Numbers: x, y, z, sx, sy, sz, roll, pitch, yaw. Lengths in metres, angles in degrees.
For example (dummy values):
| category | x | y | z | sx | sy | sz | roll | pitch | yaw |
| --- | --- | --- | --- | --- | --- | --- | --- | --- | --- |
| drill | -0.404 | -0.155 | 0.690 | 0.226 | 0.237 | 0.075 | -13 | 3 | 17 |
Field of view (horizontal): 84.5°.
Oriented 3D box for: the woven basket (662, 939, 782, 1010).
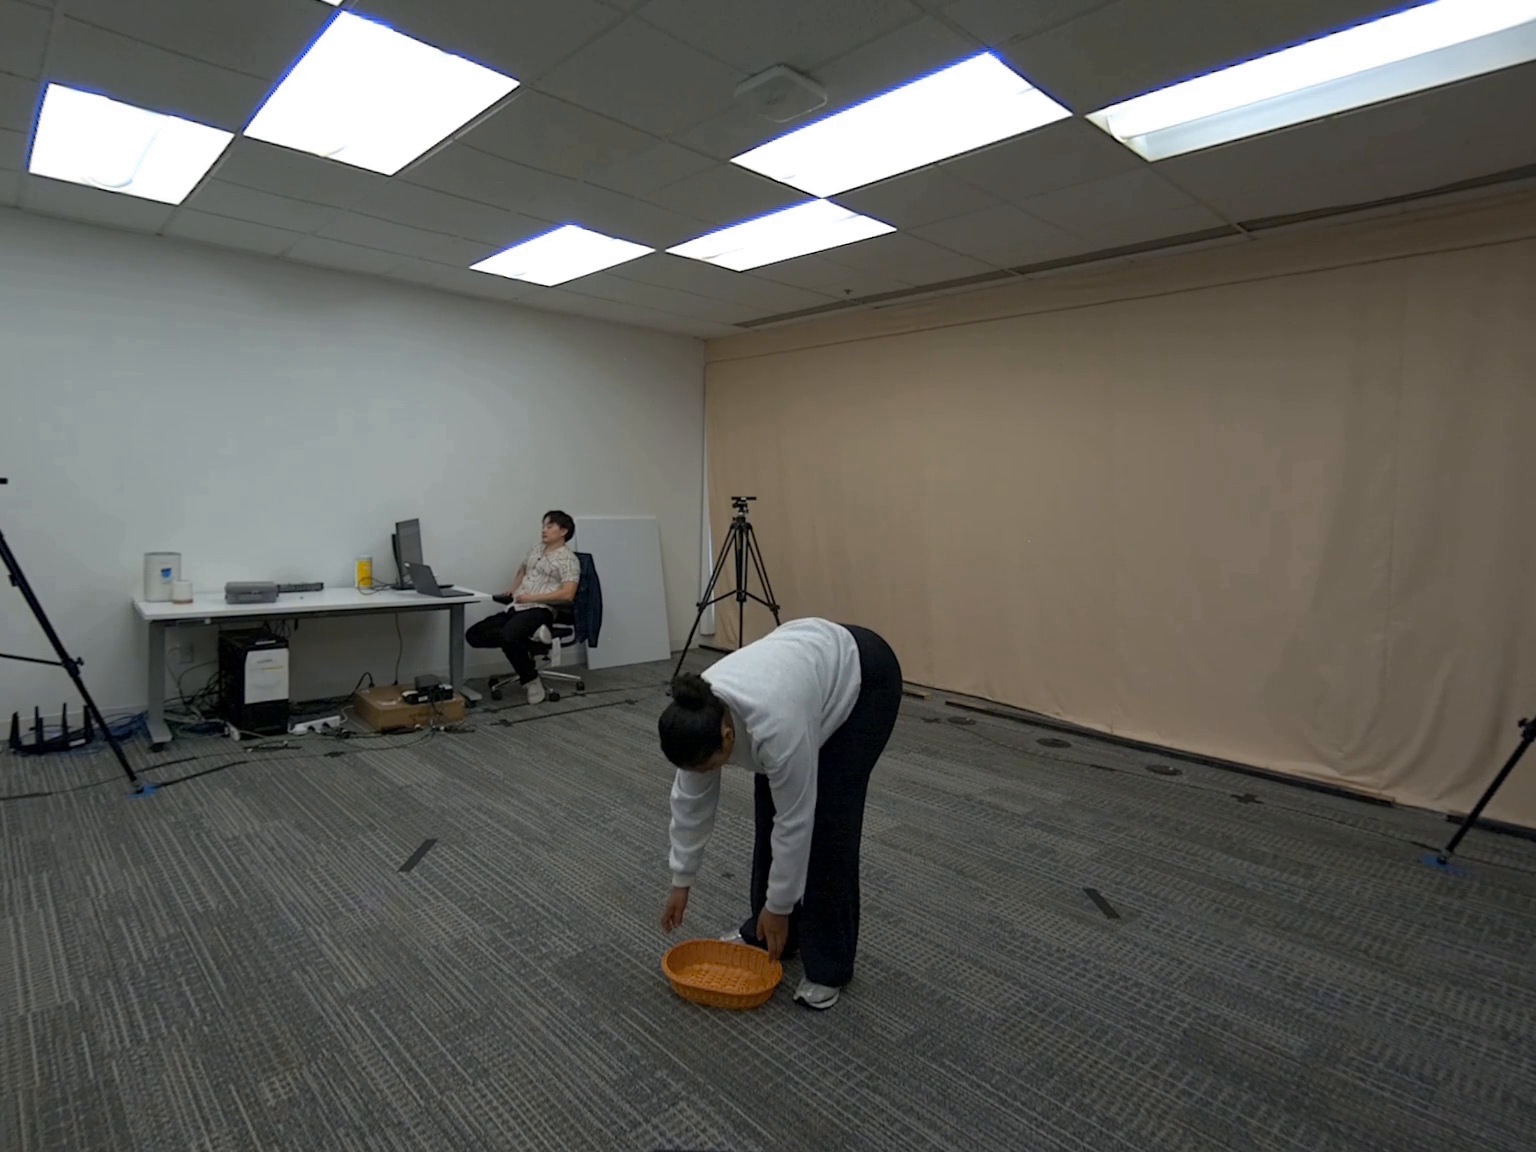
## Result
| category | x | y | z | sx | sy | sz | roll | pitch | yaw |
| --- | --- | --- | --- | --- | --- | --- | --- | --- | --- |
| woven basket | -0.136 | 1.127 | 2.392 | 0.355 | 0.073 | 0.249 | 2 | 6 | 17 |
